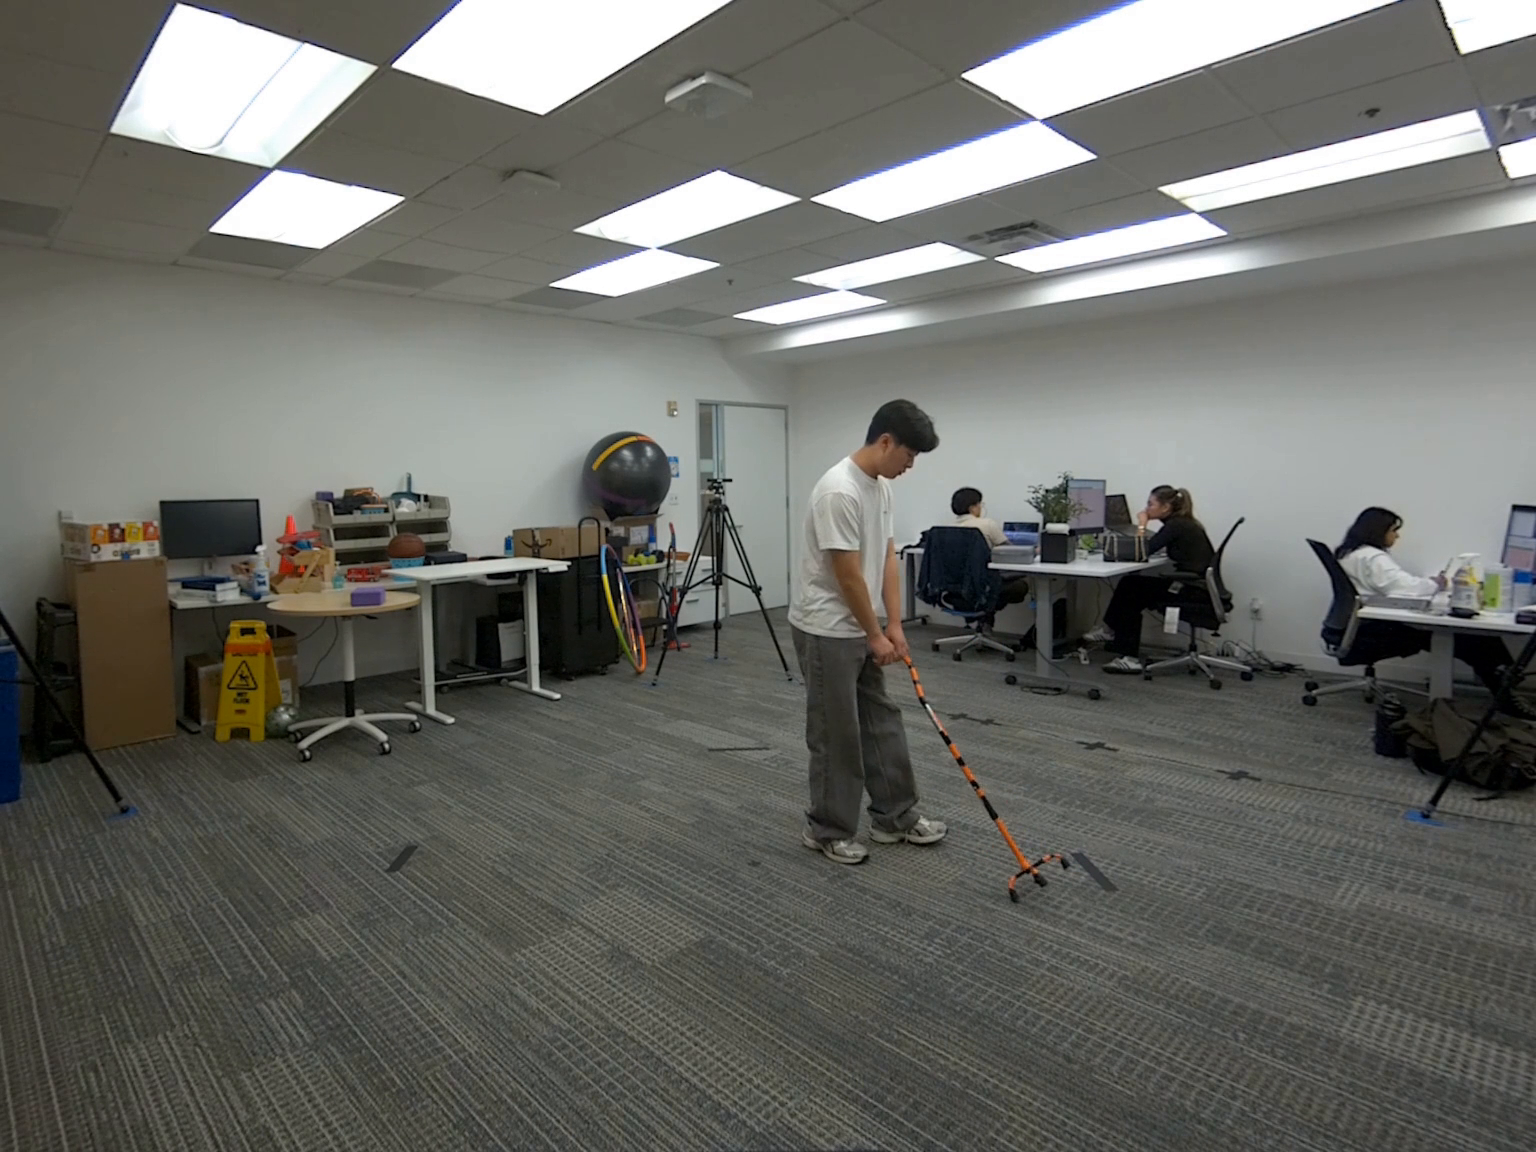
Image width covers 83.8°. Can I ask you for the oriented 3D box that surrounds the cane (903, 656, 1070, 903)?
[{"bbox_3d":[0.695,0.647,3.003,0.200,0.932,0.152,0,-36,-50],"label":"cane"}]
